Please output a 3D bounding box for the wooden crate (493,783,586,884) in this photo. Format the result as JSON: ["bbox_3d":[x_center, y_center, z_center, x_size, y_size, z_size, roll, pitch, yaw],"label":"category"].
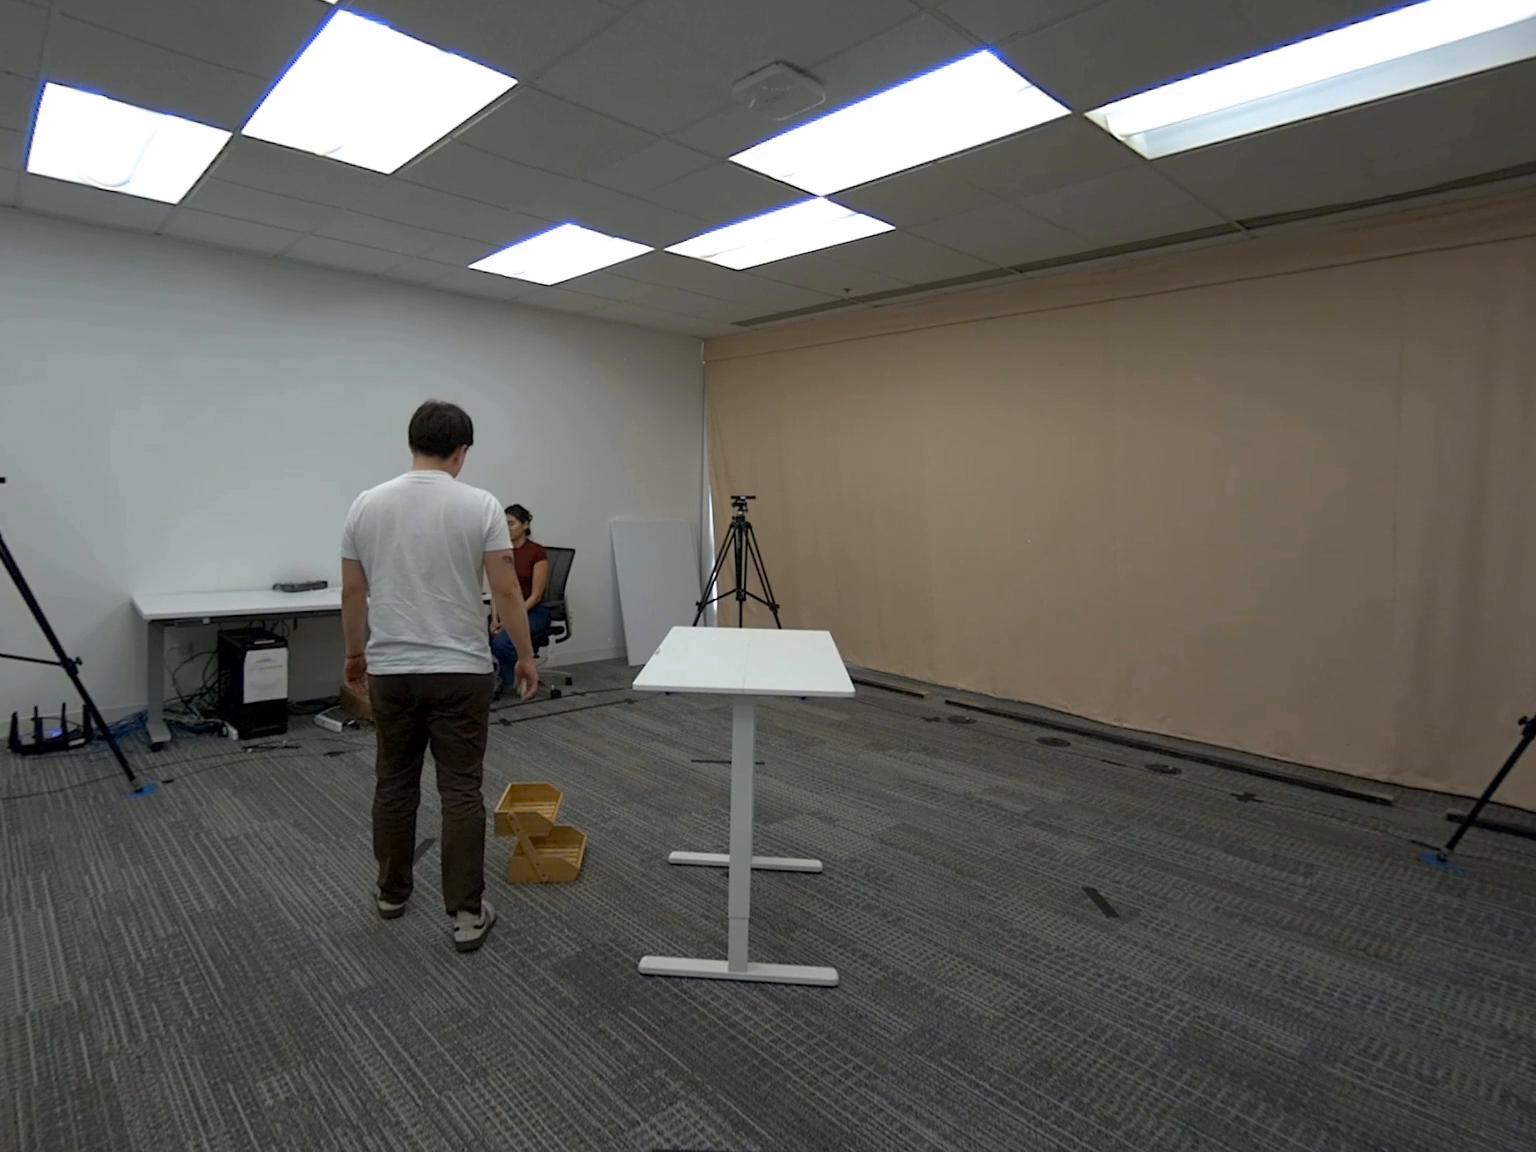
[{"bbox_3d":[-0.848,0.947,3.145,0.300,0.272,0.327,0,4,-7],"label":"wooden crate"}]
